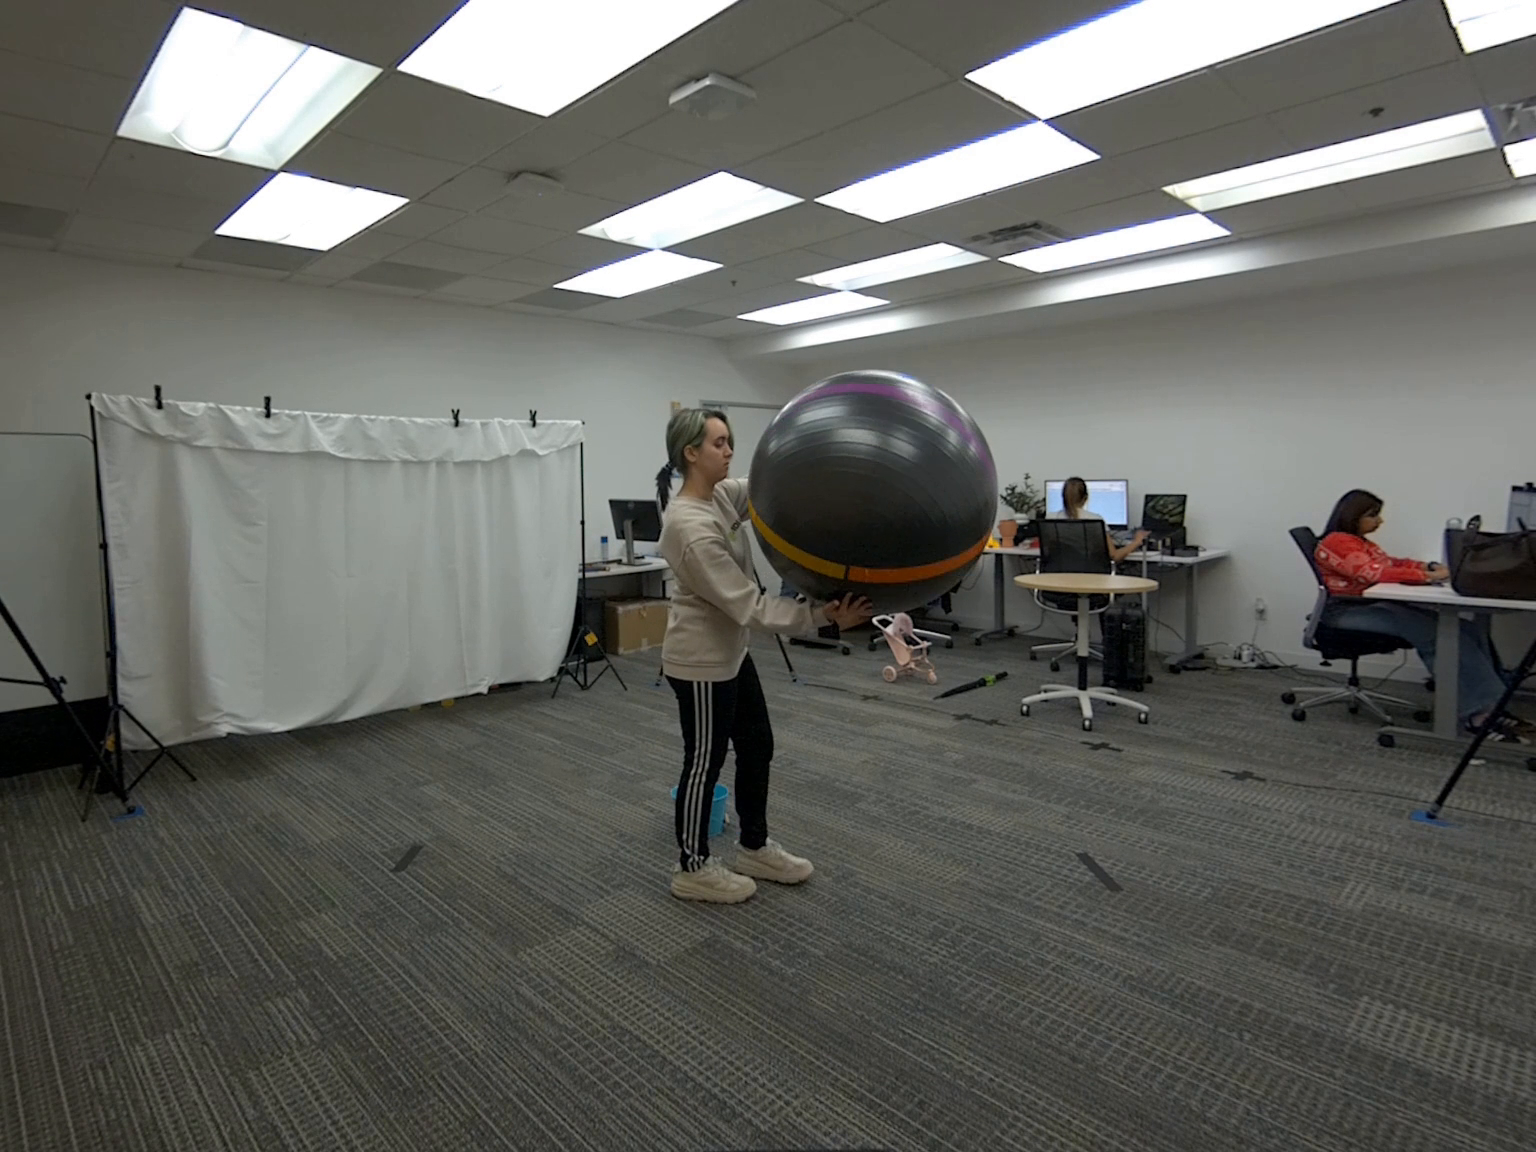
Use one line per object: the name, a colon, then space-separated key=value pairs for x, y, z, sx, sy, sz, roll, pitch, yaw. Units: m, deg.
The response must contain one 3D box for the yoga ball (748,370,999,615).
yoga ball: x=0.325 y=-0.248 z=2.644 sx=0.757 sy=0.755 sz=0.762 roll=-1 pitch=5 yaw=-2
